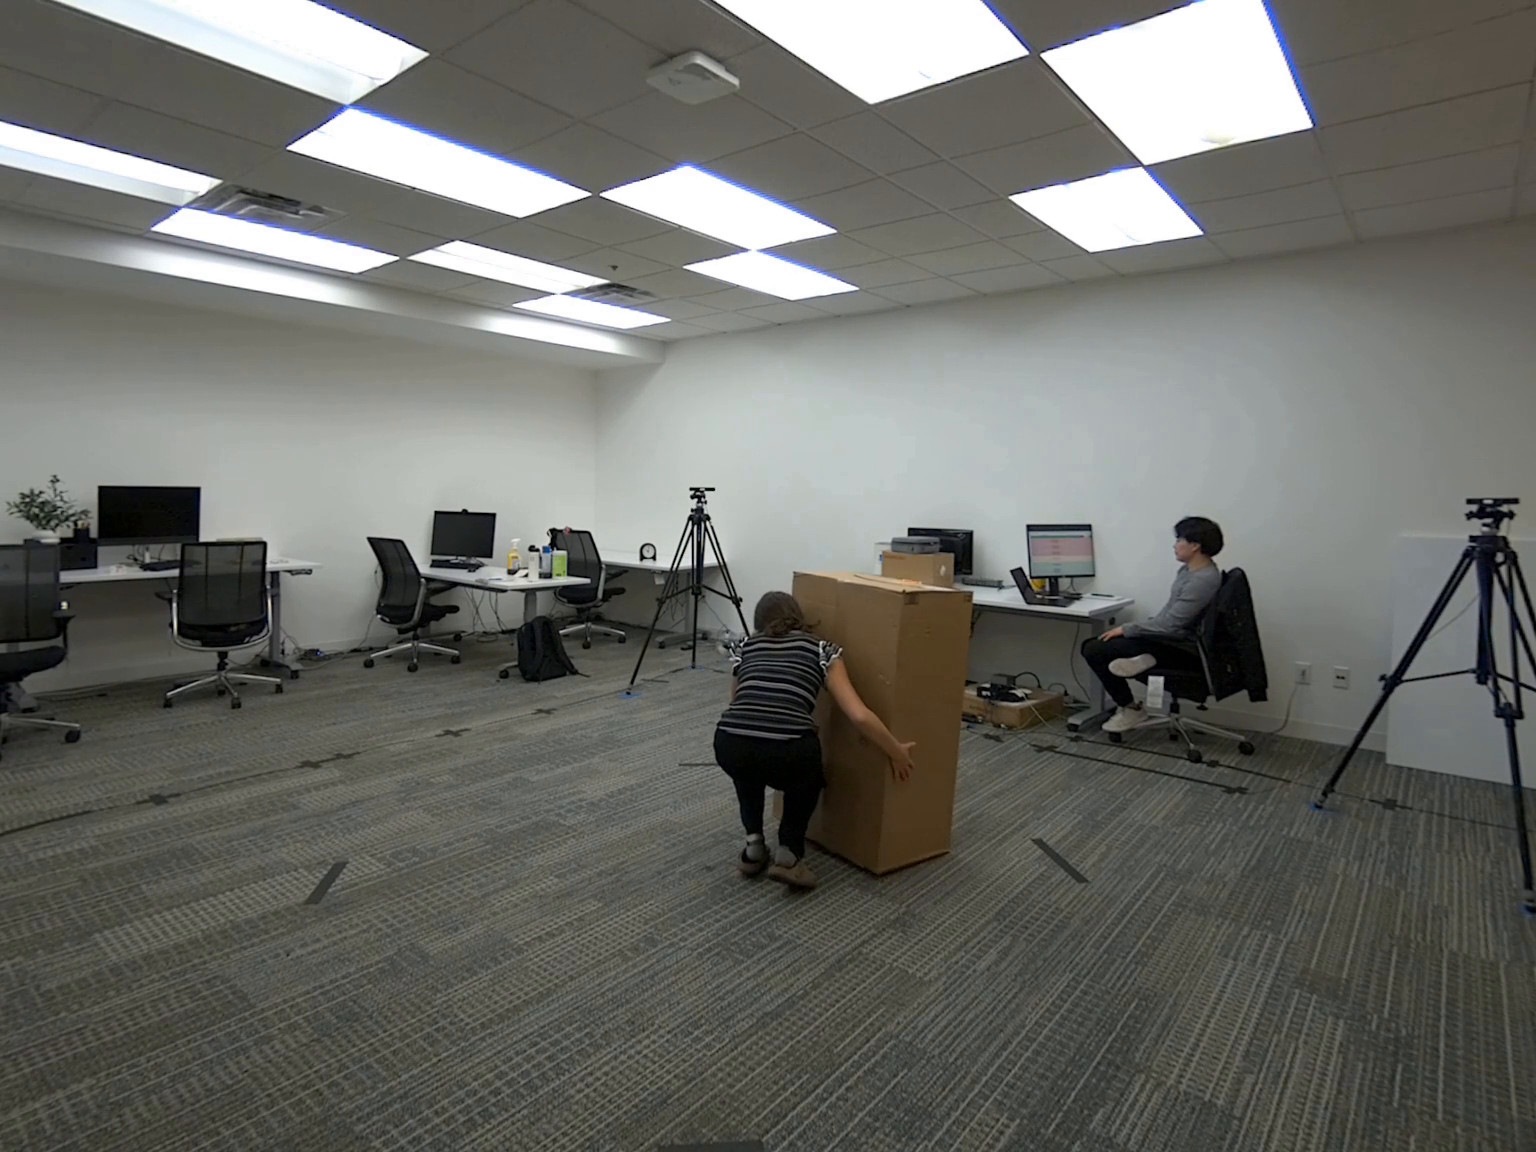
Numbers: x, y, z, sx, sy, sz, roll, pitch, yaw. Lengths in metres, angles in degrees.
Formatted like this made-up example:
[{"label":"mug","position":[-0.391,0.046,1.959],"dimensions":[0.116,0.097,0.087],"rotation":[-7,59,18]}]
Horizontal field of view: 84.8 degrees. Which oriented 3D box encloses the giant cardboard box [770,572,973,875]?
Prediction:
[{"label":"giant cardboard box","position":[0.395,0.517,3.376],"dimensions":[0.412,1.023,0.598],"rotation":[3,4,-41]}]
